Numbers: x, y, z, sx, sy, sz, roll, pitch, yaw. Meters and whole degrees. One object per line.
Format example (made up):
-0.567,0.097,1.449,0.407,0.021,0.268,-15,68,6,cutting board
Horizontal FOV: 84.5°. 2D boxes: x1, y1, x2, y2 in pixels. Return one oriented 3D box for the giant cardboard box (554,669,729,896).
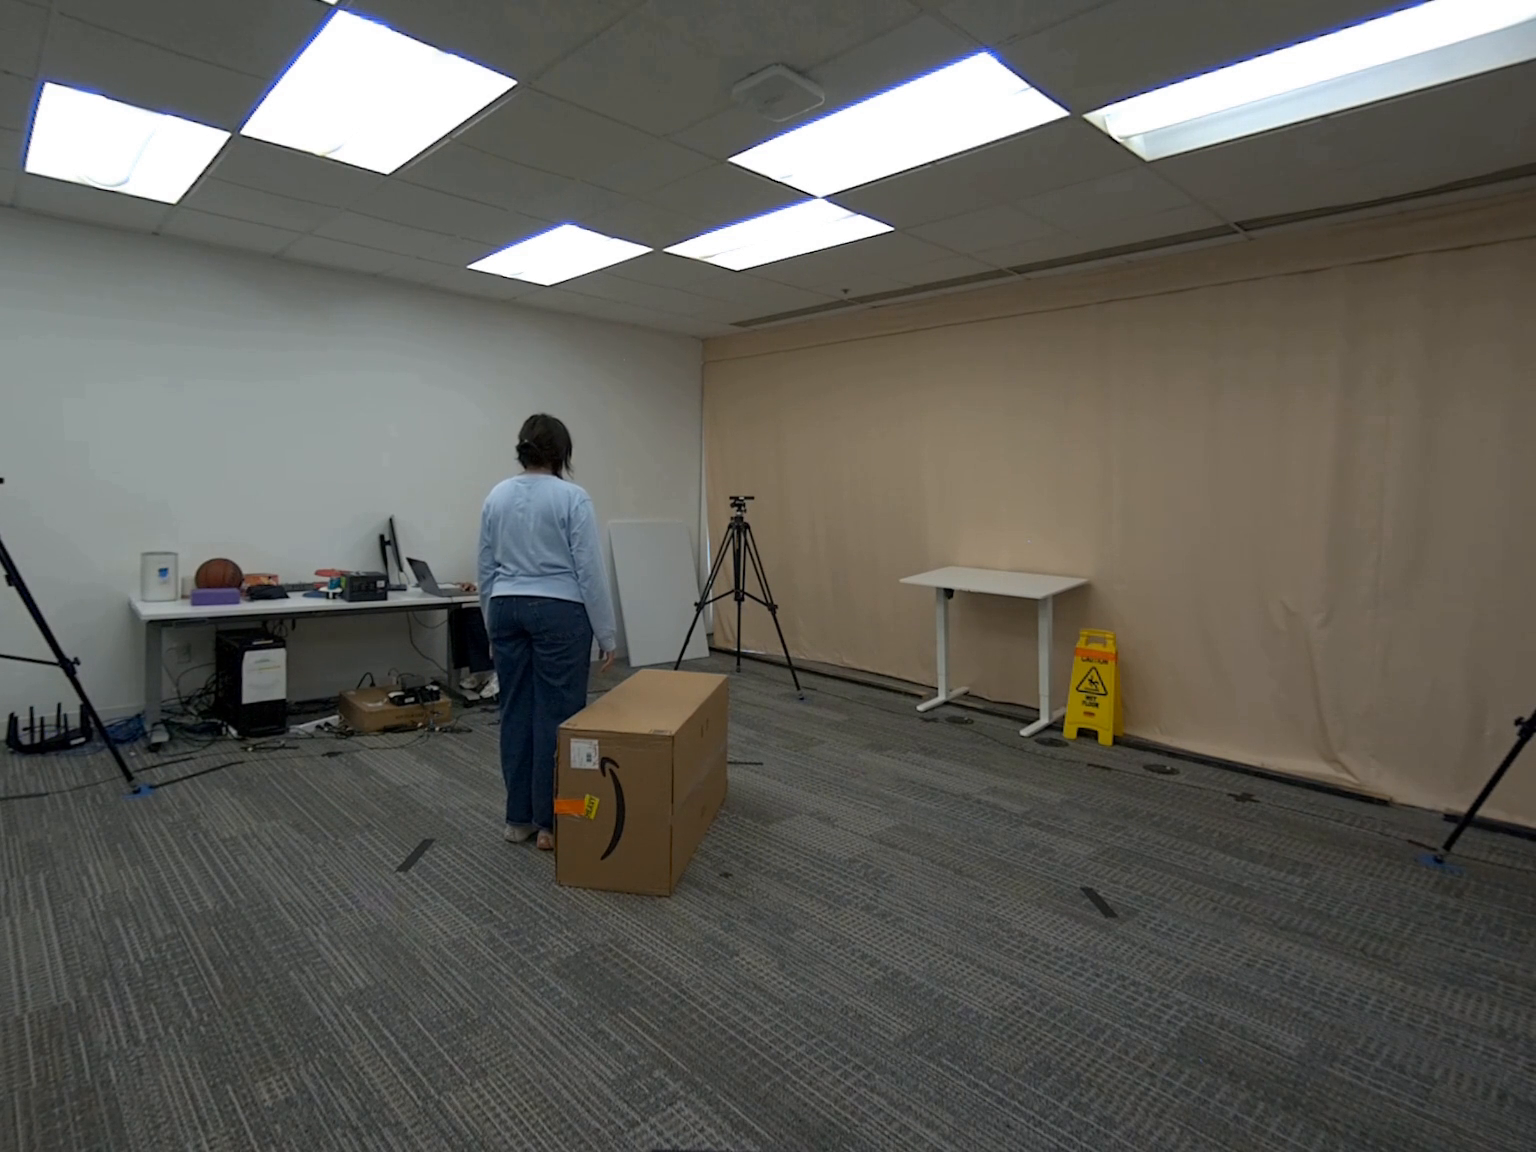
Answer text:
-0.475,0.777,3.444,0.429,0.576,1.021,1,5,8,giant cardboard box
